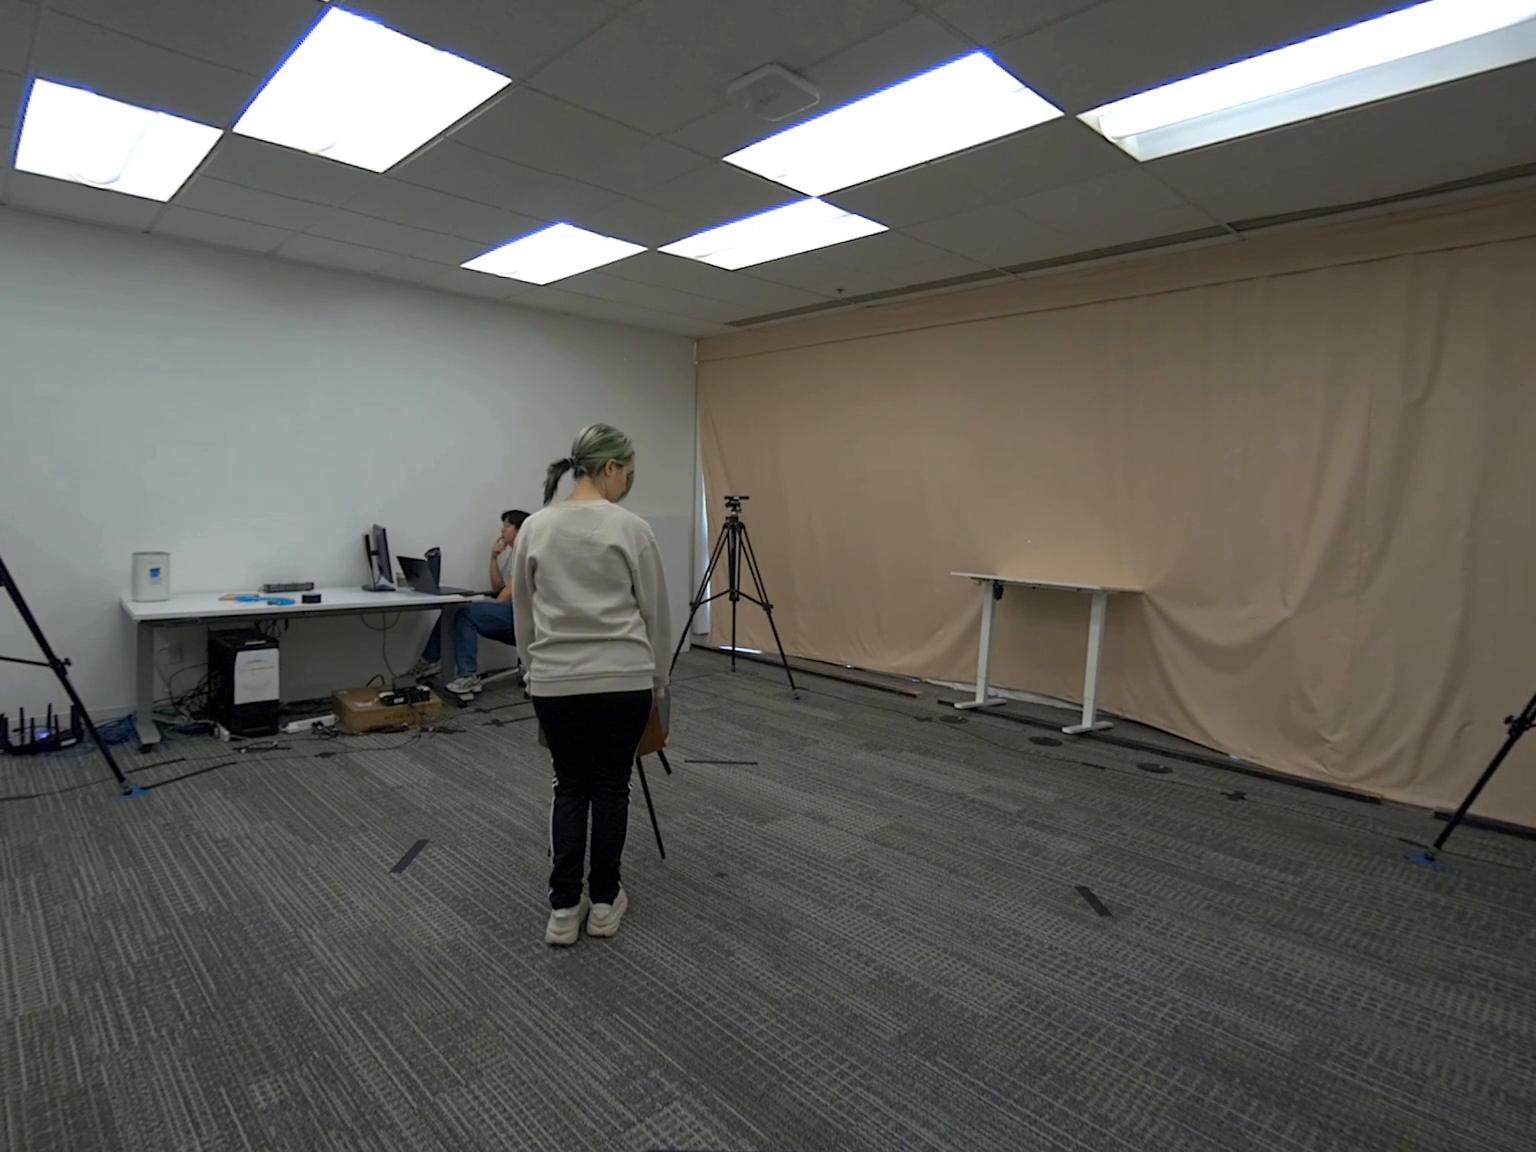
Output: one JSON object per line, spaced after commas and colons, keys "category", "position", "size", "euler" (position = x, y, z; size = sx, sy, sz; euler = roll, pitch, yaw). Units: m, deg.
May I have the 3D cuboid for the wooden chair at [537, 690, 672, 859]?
{"category": "wooden chair", "position": [-0.617, 0.601, 3.223], "size": [0.477, 0.860, 0.534], "euler": [1, 35, -2]}
